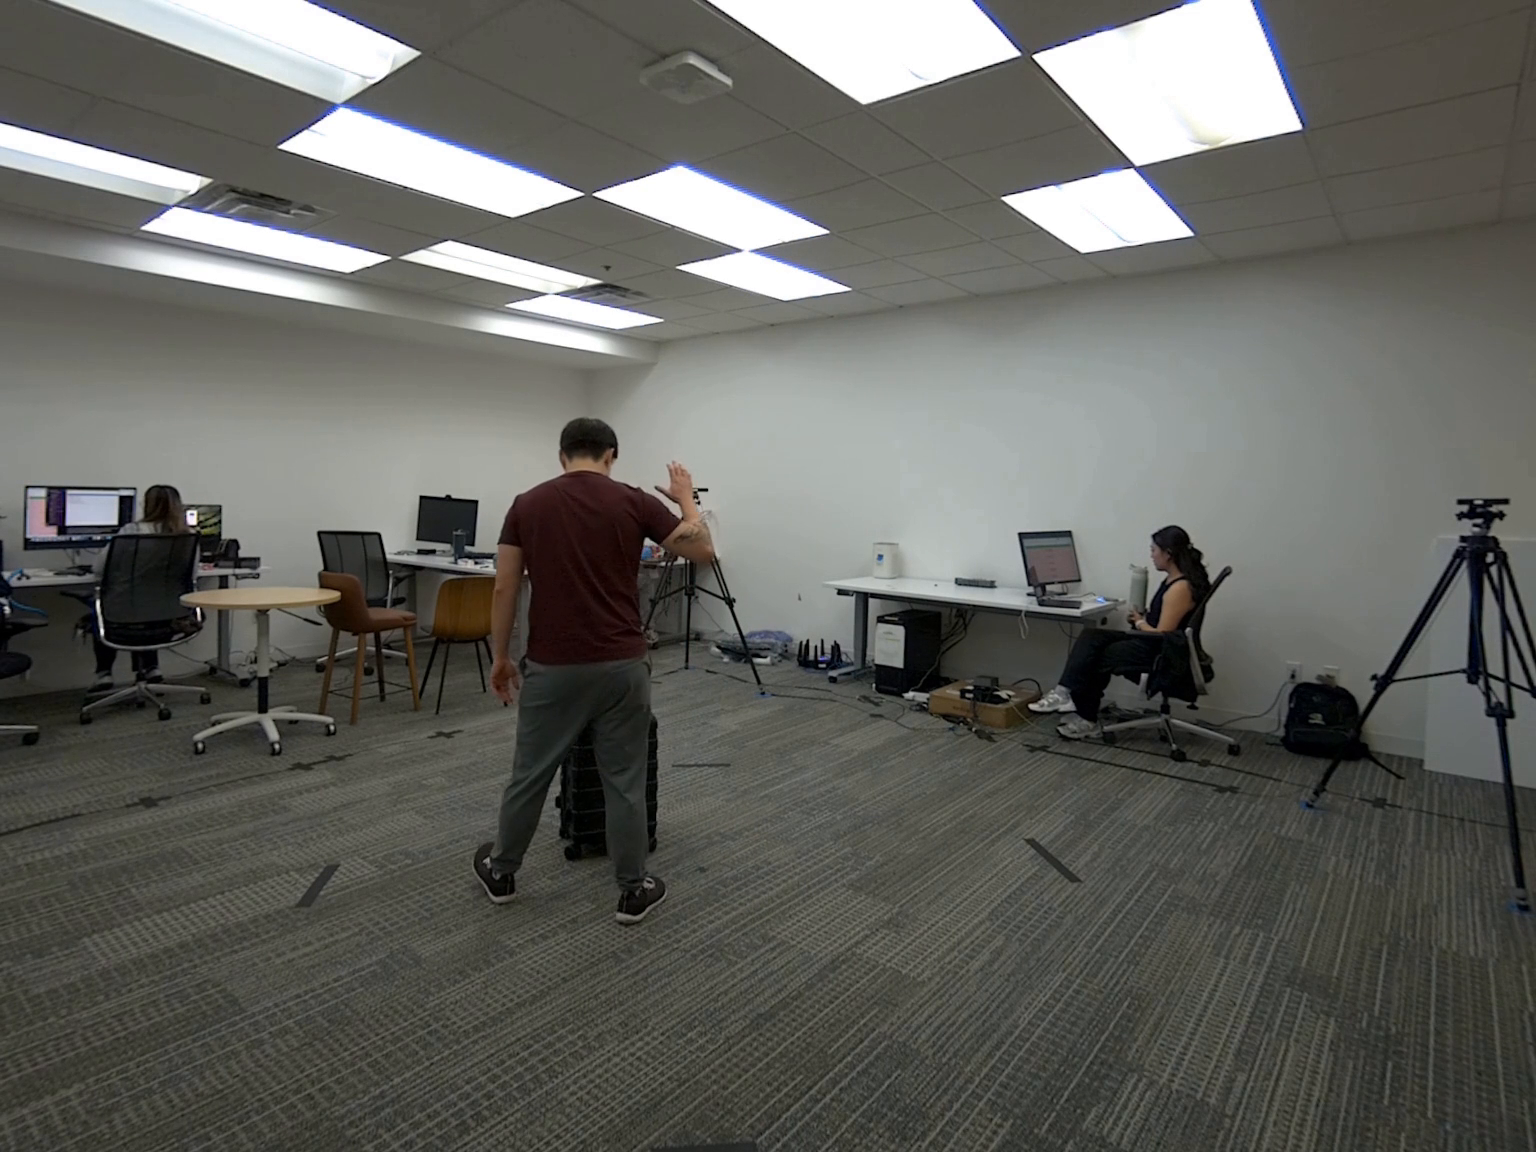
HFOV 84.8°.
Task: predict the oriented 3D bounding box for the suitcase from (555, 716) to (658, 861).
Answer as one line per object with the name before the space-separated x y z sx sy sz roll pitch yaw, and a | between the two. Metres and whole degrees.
suitcase | -0.622 0.568 3.299 0.377 0.976 0.263 0 3 -19
